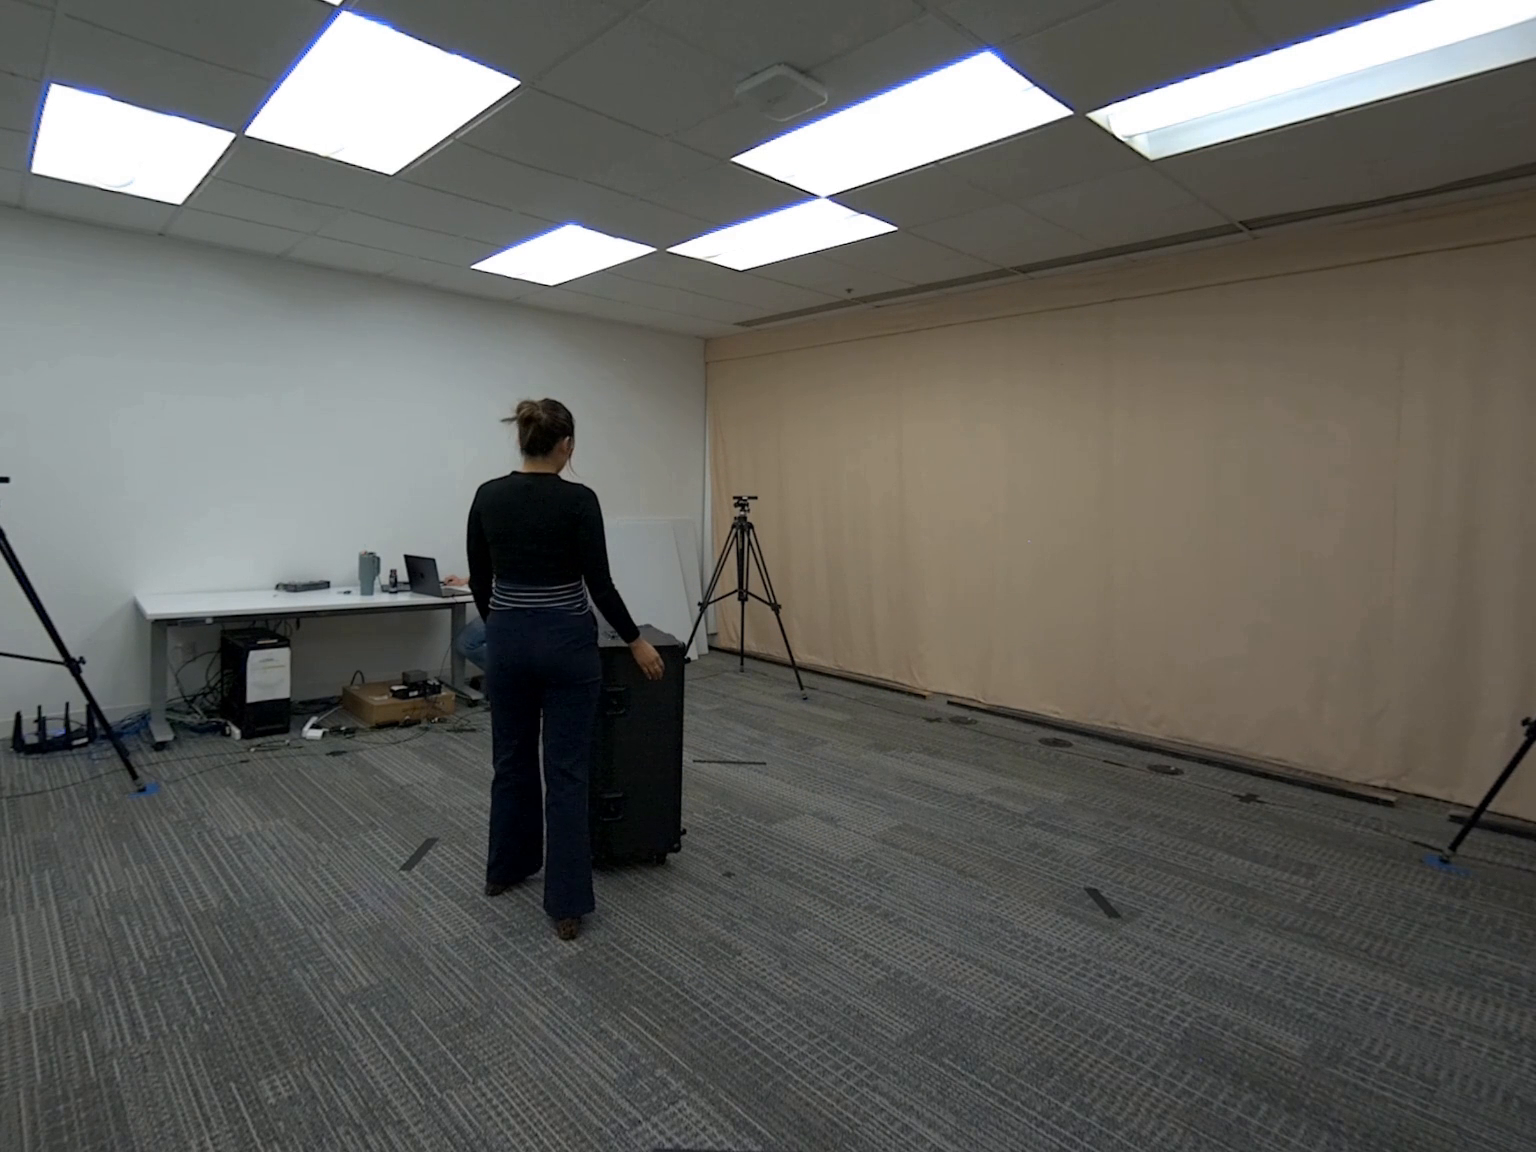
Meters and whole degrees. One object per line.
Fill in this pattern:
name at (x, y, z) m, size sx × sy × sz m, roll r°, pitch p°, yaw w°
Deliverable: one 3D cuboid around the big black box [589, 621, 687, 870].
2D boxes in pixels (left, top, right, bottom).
big black box at (-0.568, 0.651, 3.277) m, size 0.389 × 0.860 × 0.531 m, roll 1°, pitch 3°, yaw -24°
